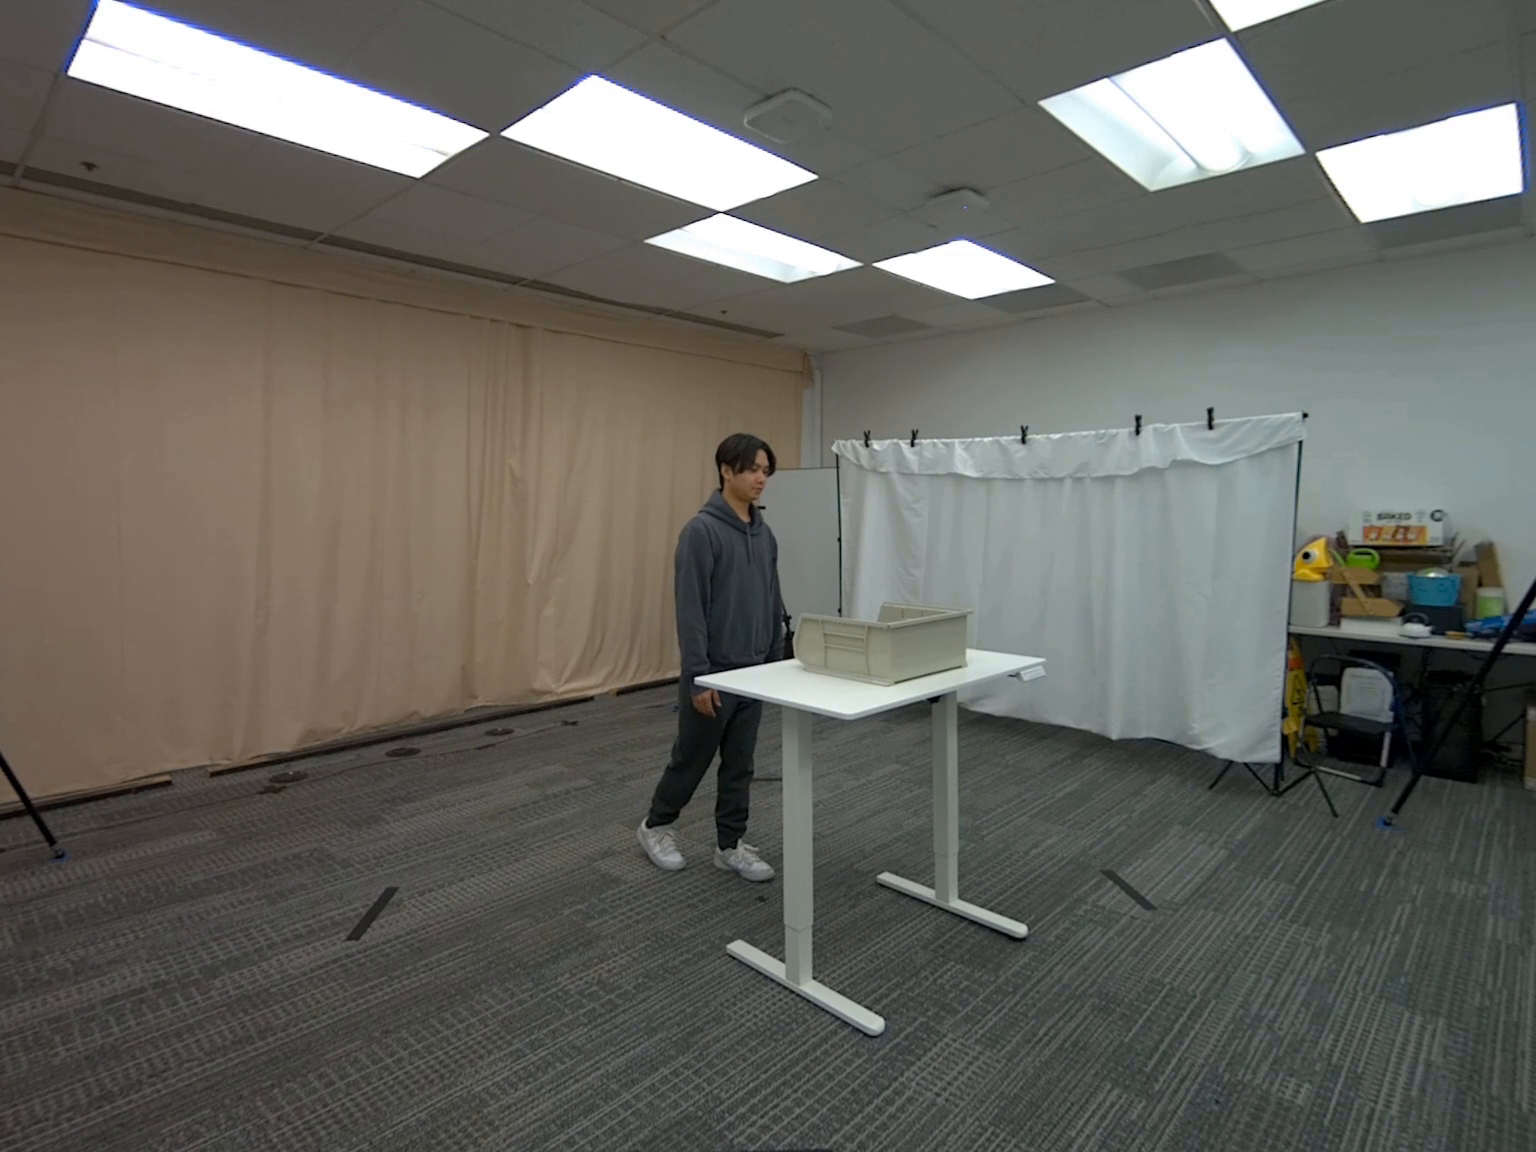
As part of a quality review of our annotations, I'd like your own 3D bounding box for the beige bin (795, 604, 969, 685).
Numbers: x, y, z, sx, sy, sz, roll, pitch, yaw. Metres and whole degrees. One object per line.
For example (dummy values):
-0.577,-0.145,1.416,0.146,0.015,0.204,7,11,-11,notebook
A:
0.360,0.201,2.627,0.409,0.188,0.390,-5,7,-43,beige bin
